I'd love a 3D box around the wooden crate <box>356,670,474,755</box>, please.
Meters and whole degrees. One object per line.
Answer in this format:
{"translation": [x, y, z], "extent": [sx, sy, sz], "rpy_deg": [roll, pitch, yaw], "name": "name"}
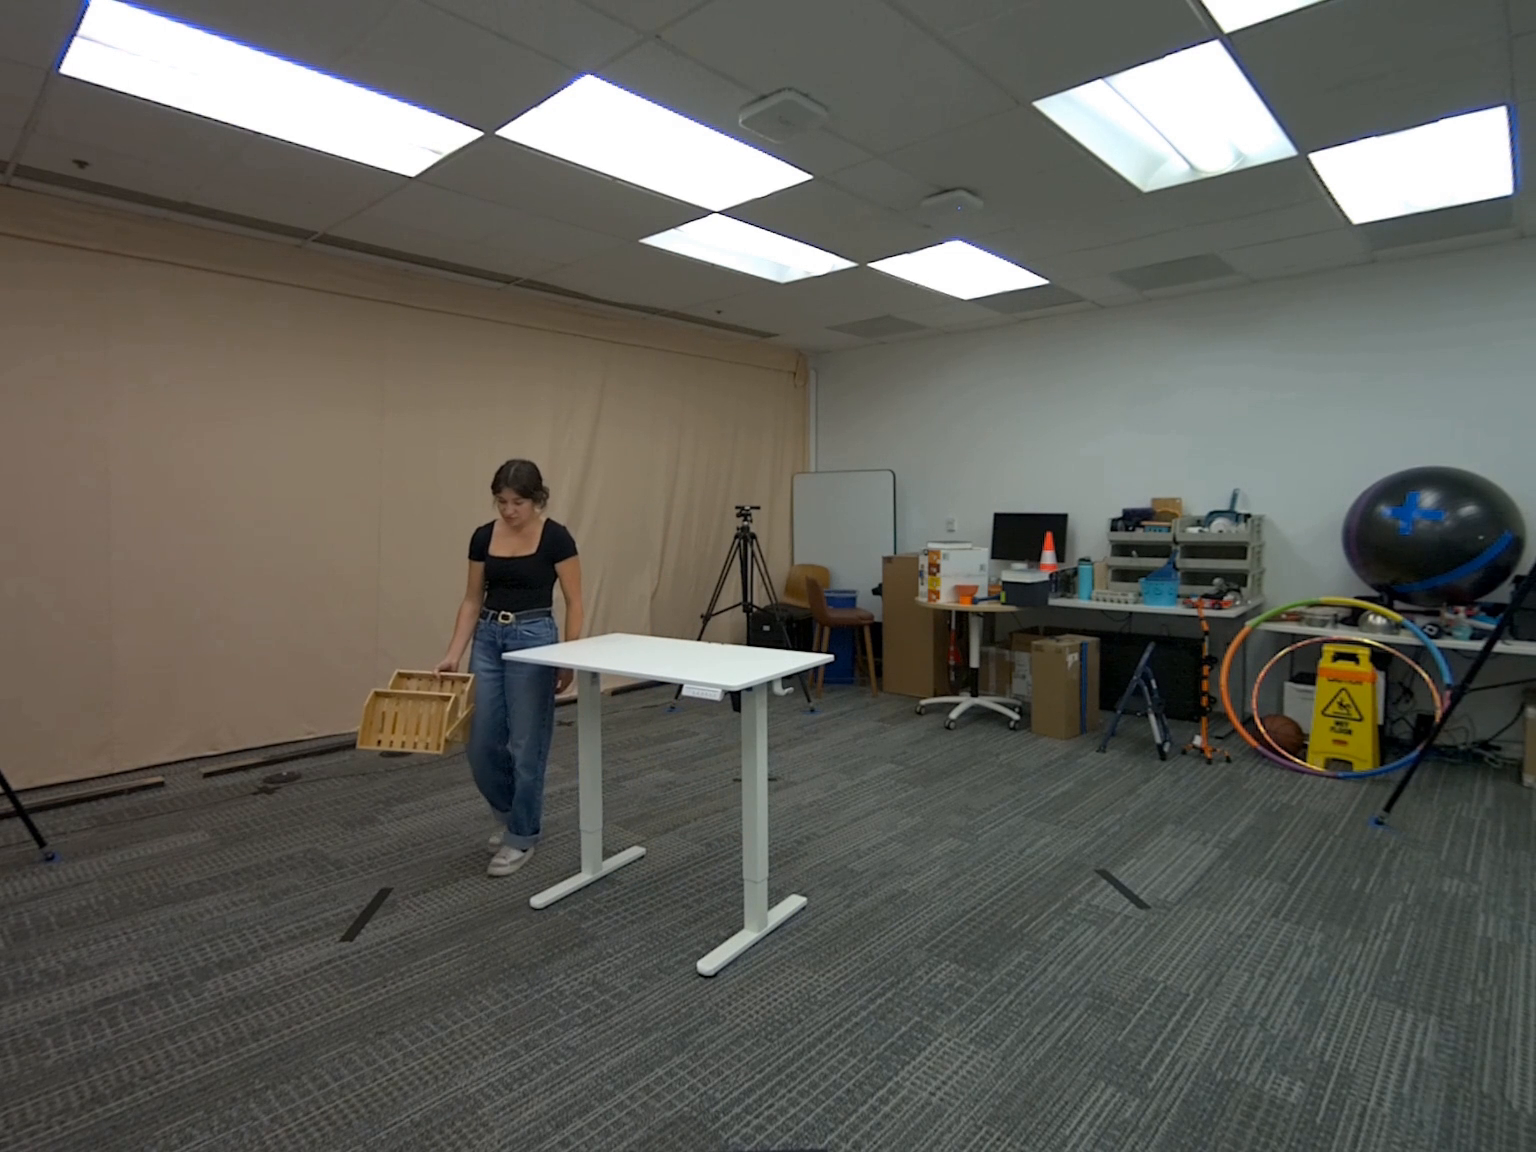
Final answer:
{"translation": [-1.265, 0.491, 3.019], "extent": [0.325, 0.305, 0.270], "rpy_deg": [1, -15, 1], "name": "wooden crate"}
